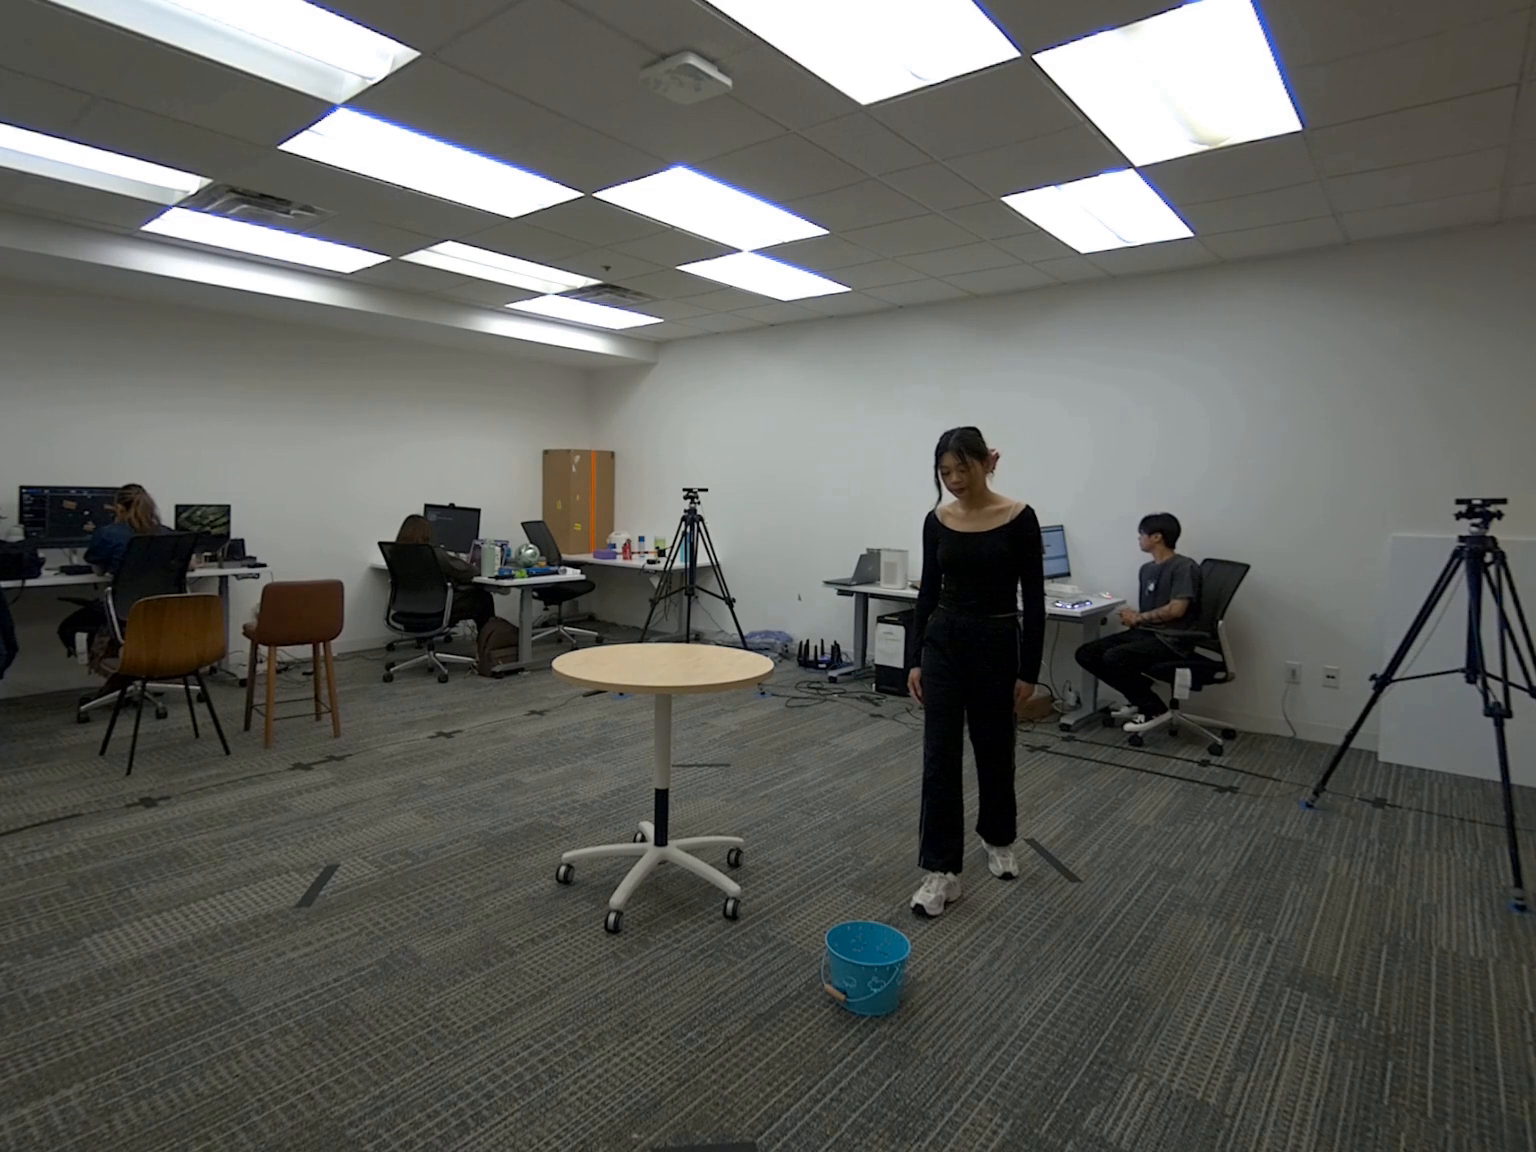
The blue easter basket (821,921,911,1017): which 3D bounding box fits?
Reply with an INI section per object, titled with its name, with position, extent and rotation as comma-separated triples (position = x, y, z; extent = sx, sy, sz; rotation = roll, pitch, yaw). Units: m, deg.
[blue easter basket]
position = 0.262, 1.077, 2.350
extent = 0.243, 0.155, 0.245
rotation = 0, 4, -2
